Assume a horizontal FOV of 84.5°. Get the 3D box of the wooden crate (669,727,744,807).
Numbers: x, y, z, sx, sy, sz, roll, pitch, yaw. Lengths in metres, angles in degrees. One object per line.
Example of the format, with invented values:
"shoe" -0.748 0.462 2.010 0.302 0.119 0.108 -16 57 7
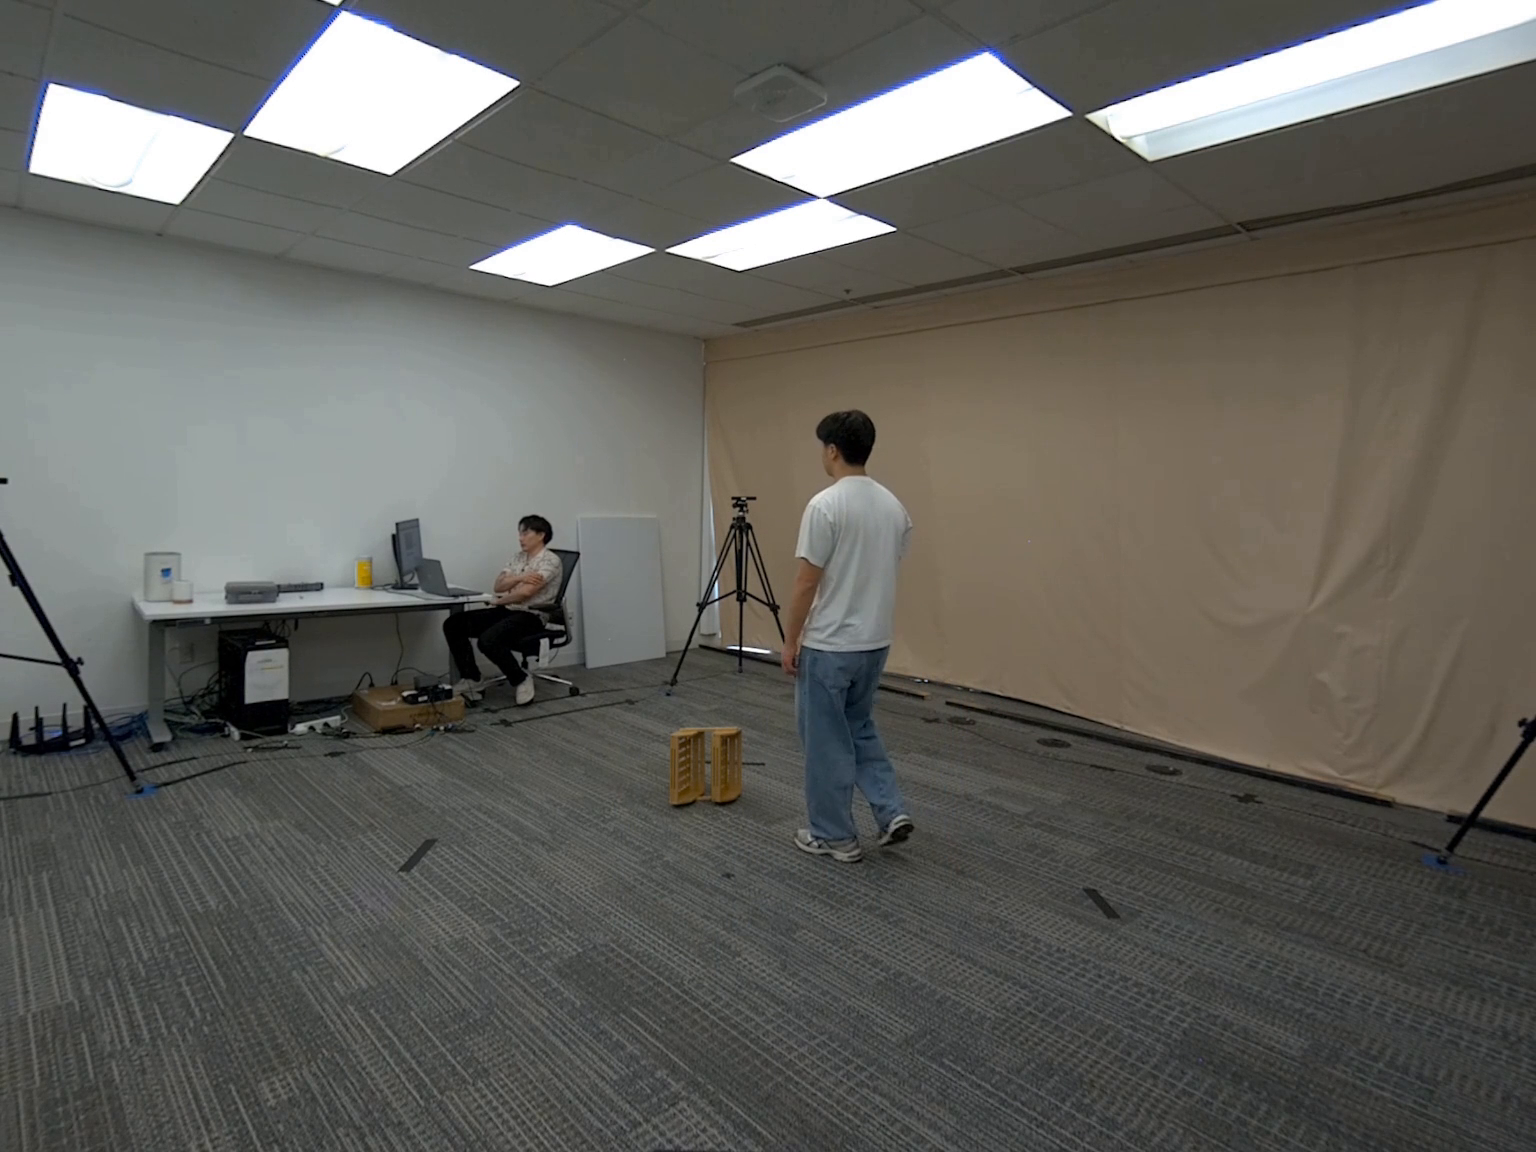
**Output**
"wooden crate" -0.288 0.869 3.875 0.277 0.325 0.297 -1 -2 16
